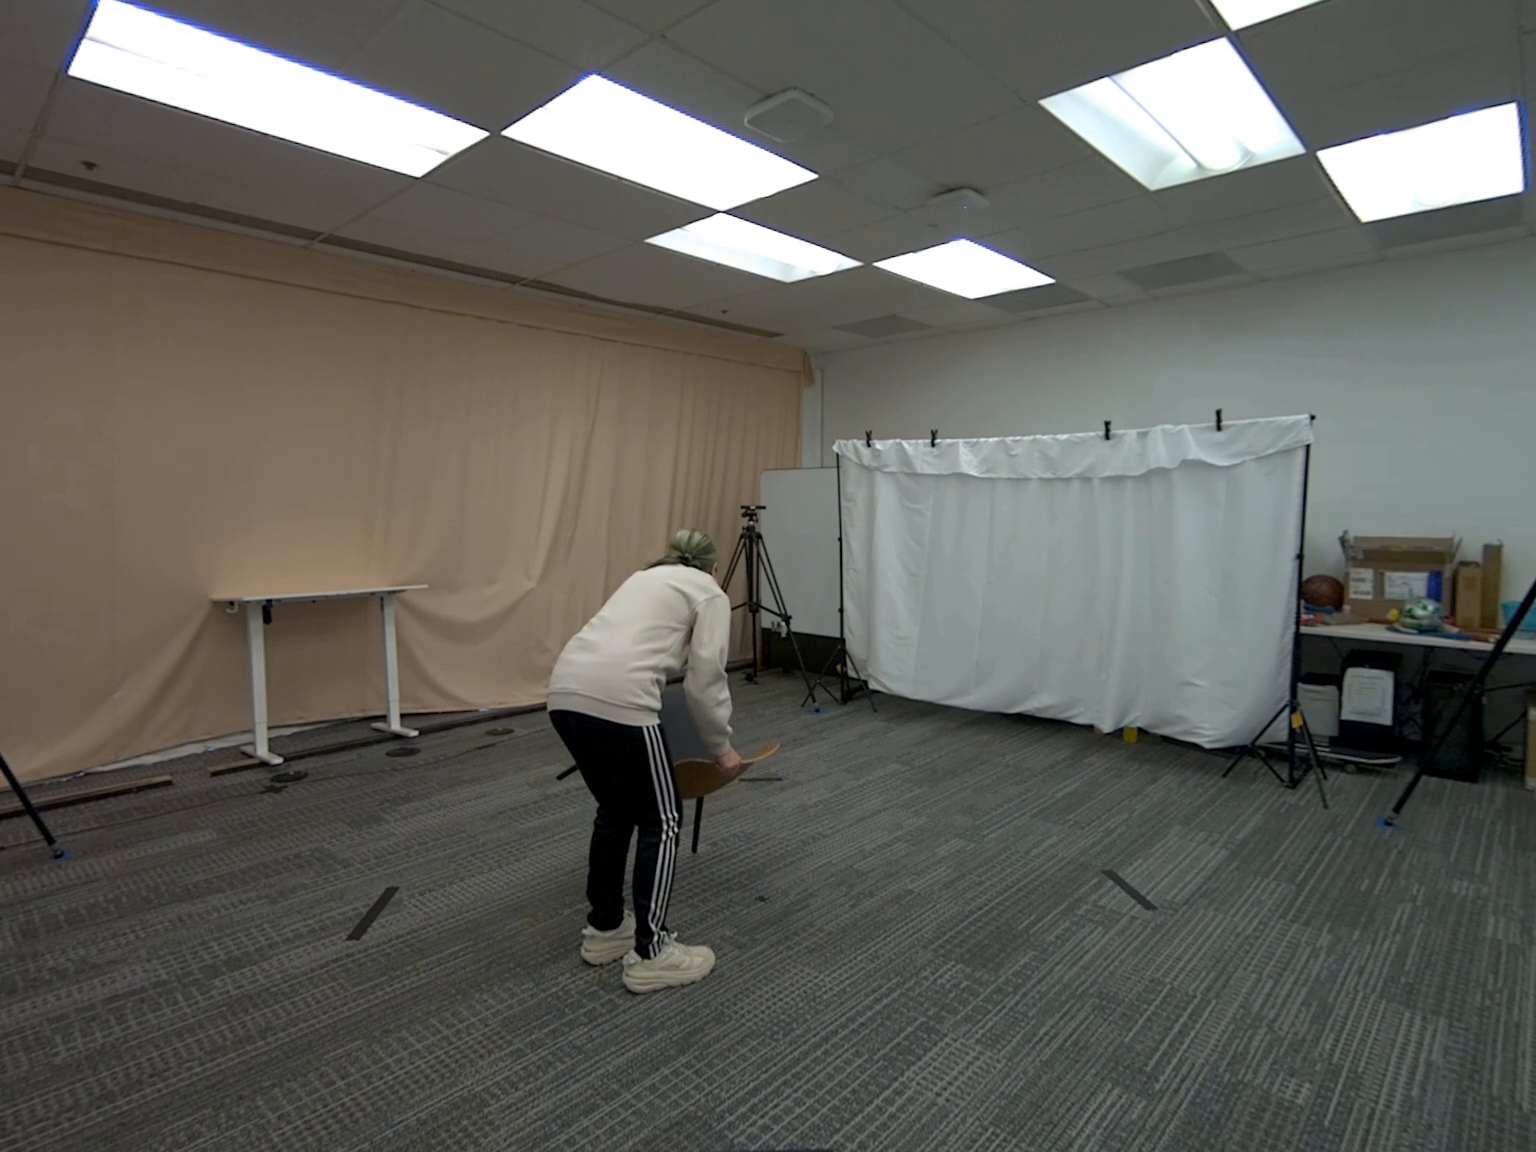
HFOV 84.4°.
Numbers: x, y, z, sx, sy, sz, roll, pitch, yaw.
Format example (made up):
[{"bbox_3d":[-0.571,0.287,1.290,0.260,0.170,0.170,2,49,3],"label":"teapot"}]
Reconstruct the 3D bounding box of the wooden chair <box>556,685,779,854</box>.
[{"bbox_3d":[-0.378,0.667,3.117,0.464,0.537,0.880,-3,-36,-38],"label":"wooden chair"}]
